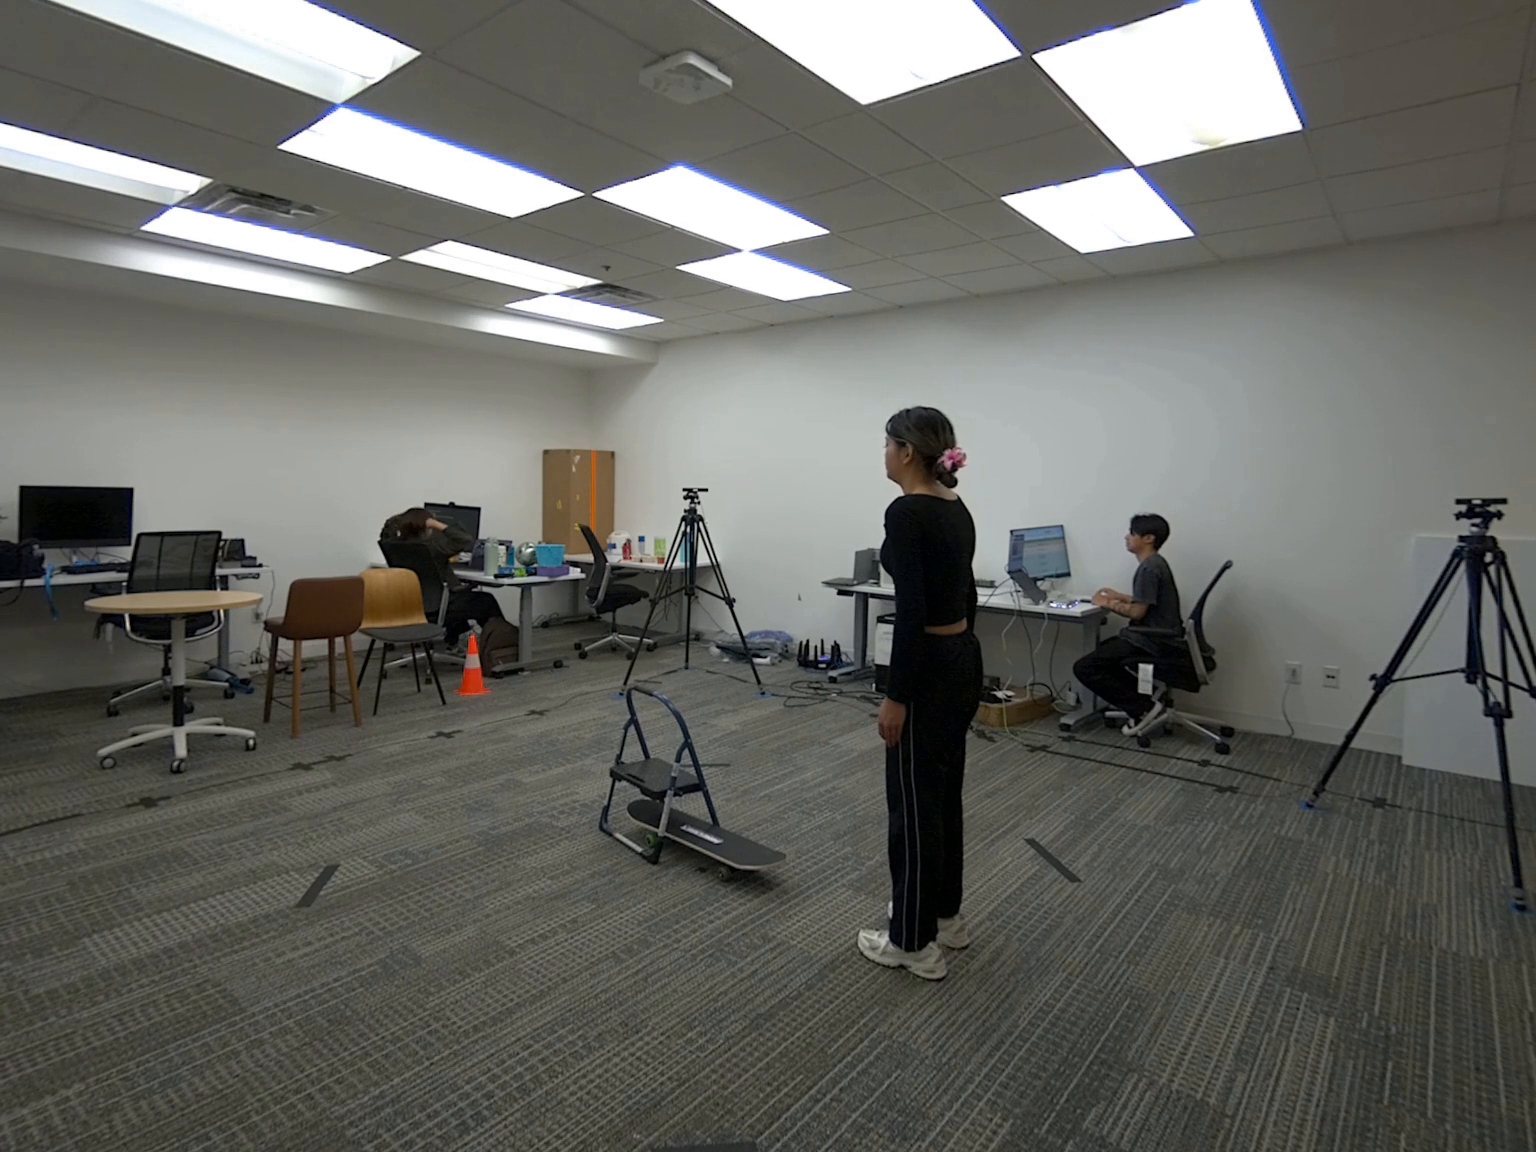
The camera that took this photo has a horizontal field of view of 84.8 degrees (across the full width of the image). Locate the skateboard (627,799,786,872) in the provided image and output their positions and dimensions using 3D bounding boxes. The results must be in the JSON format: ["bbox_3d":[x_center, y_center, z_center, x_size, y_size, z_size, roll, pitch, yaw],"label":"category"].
[{"bbox_3d":[-0.262,0.998,3.213,0.813,0.110,0.188,6,9,43],"label":"skateboard"}]
